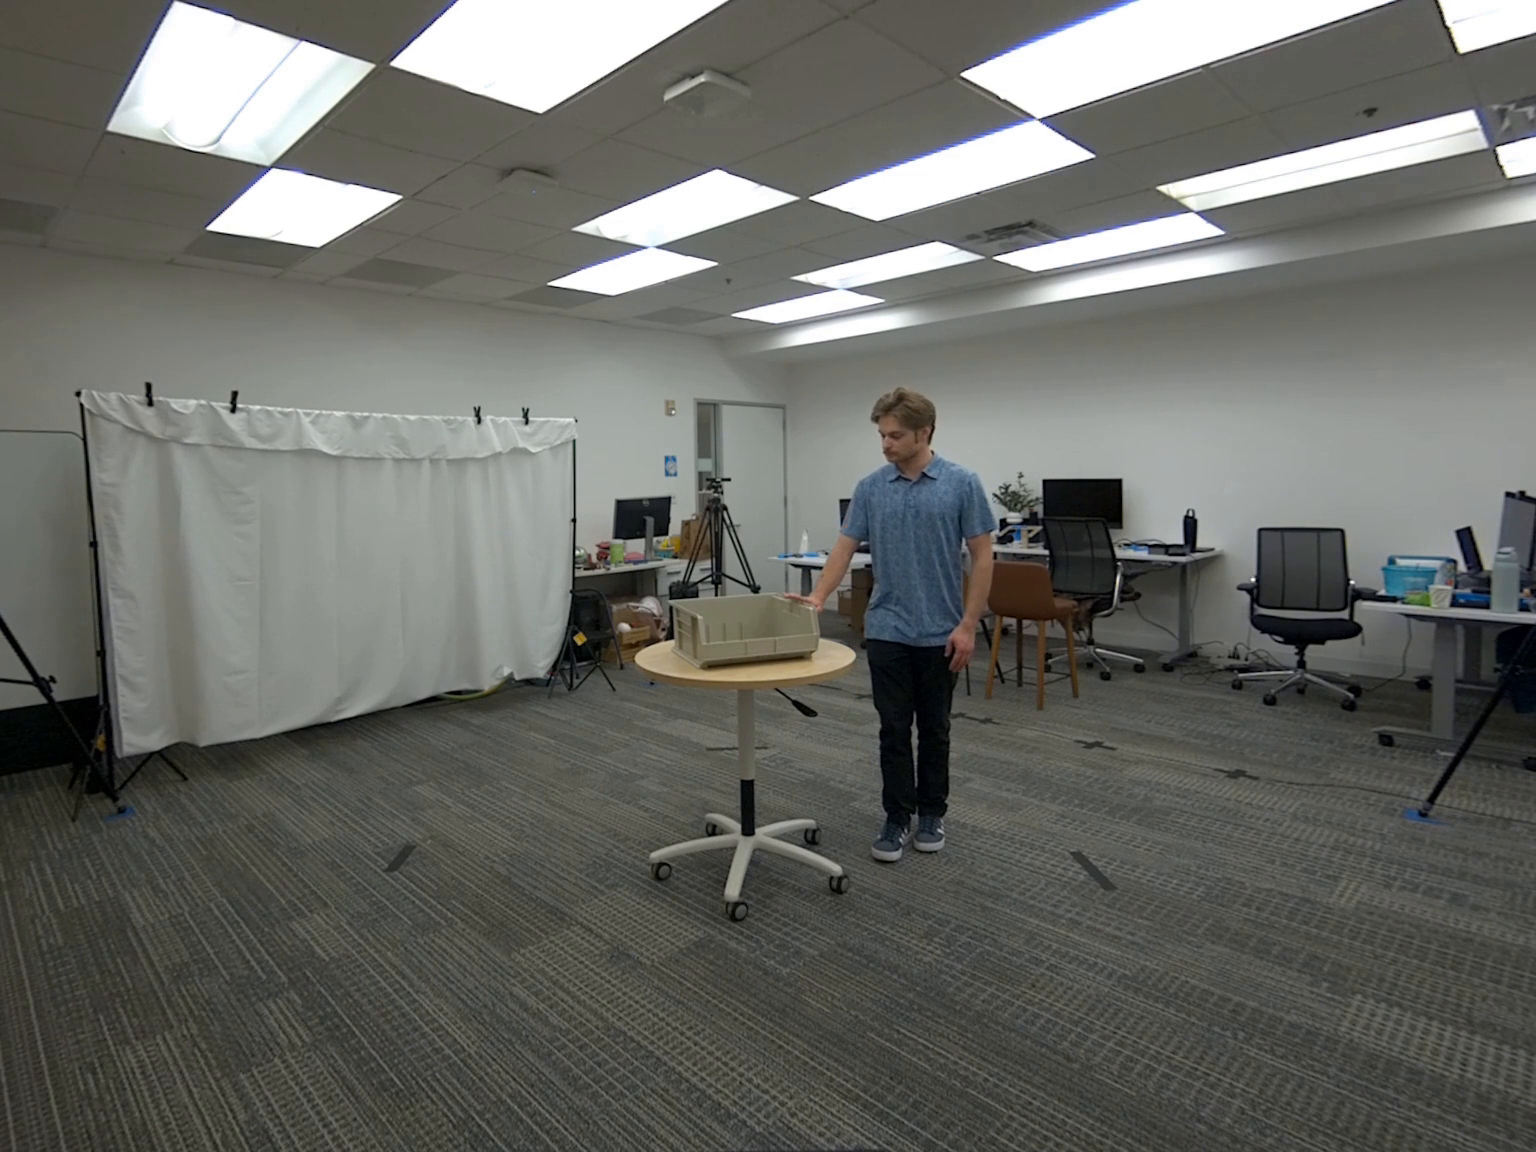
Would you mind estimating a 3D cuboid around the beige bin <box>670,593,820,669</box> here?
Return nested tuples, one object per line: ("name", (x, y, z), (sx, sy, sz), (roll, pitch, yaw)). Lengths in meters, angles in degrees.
("beige bin", (-0.091, 0.185, 2.955), (0.415, 0.188, 0.385), (-4, 5, -20))
